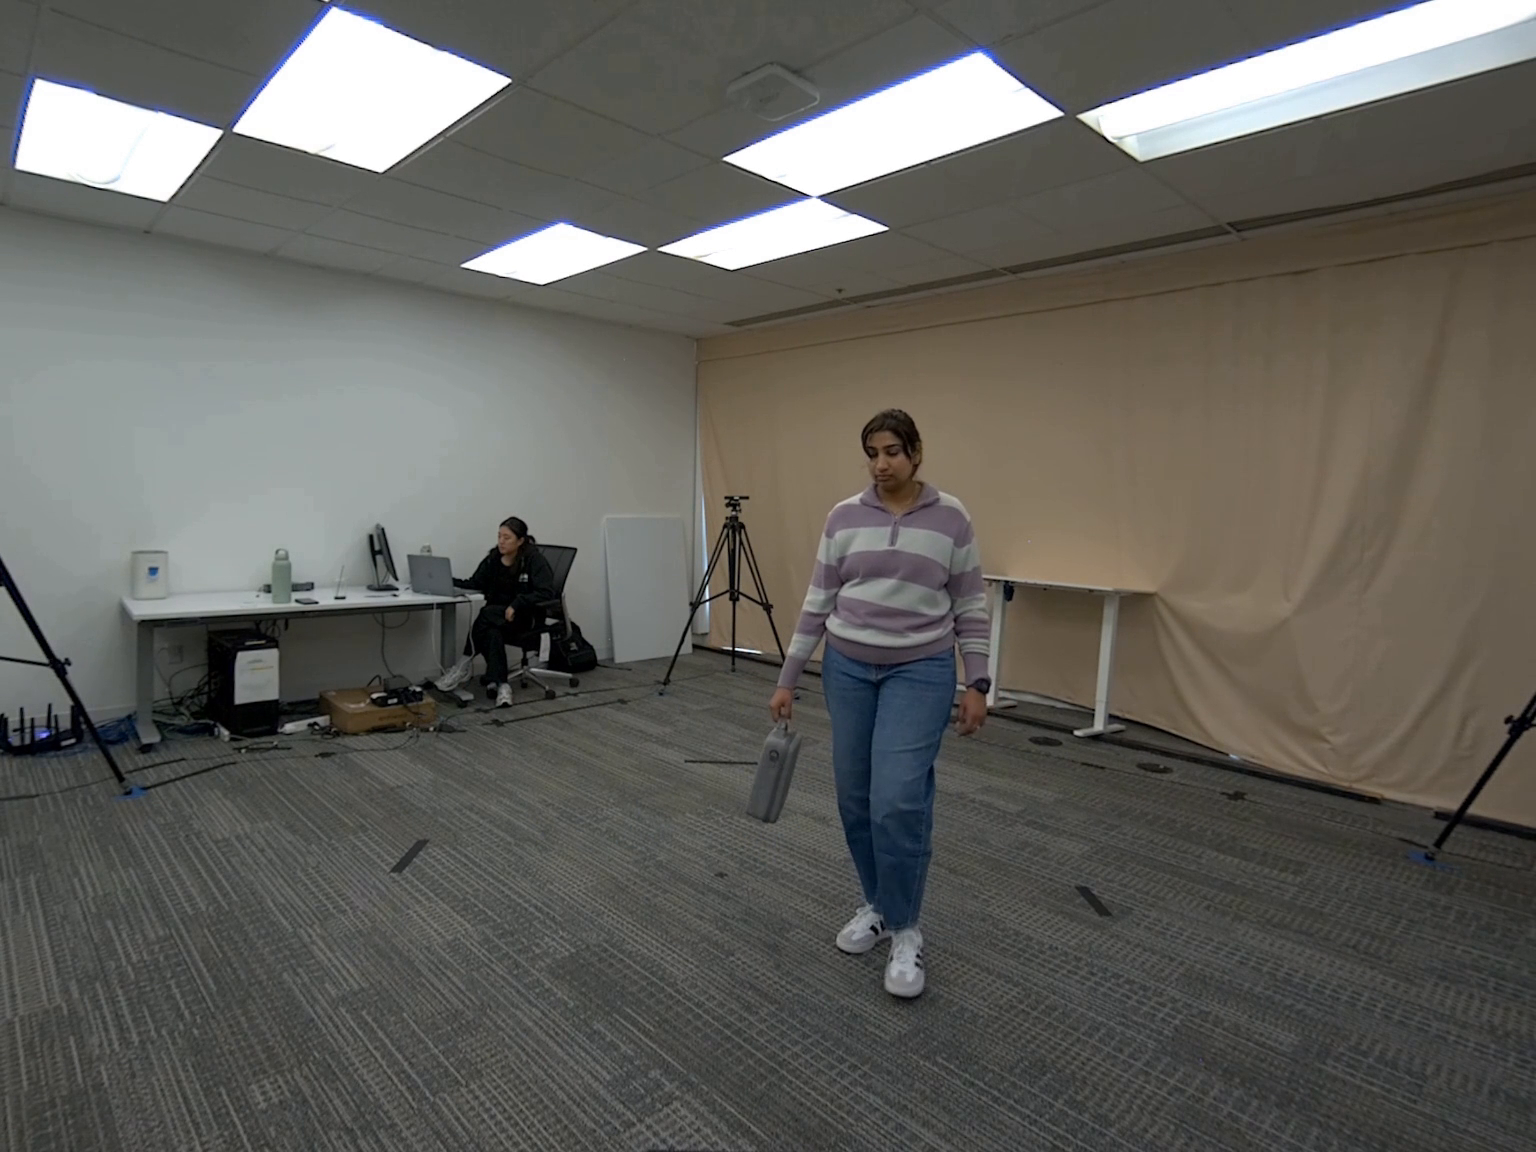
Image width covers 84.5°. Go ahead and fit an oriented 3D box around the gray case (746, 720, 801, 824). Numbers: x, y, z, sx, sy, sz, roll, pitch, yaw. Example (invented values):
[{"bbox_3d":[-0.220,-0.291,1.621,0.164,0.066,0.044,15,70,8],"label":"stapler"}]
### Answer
[{"bbox_3d":[0.031,0.612,2.645,0.105,0.260,0.255,11,1,8],"label":"gray case"}]
